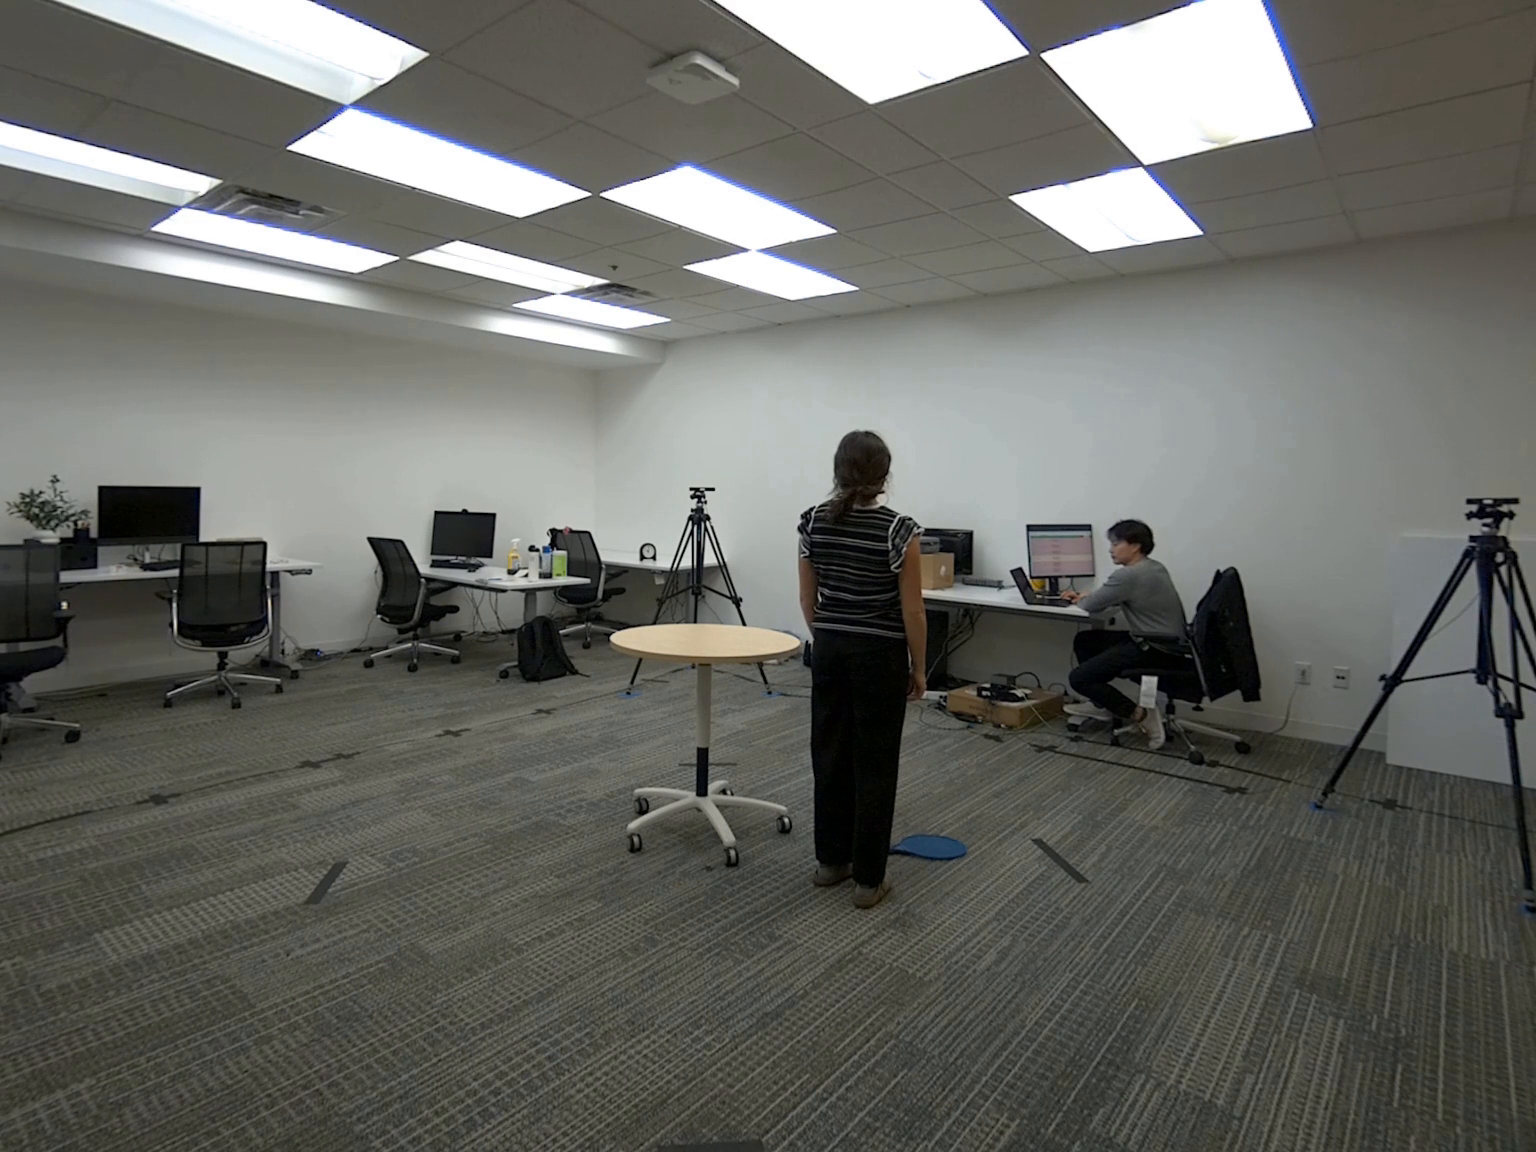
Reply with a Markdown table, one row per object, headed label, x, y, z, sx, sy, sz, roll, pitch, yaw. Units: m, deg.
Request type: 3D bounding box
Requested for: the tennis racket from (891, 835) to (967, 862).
| label | x | y | z | sx | sy | sz | roll | pitch | yaw |
| --- | --- | --- | --- | --- | --- | --- | --- | --- | --- |
| tennis racket | 0.560 | 1.051 | 3.308 | 0.424 | 0.031 | 0.219 | 0 | 6 | -20 |
